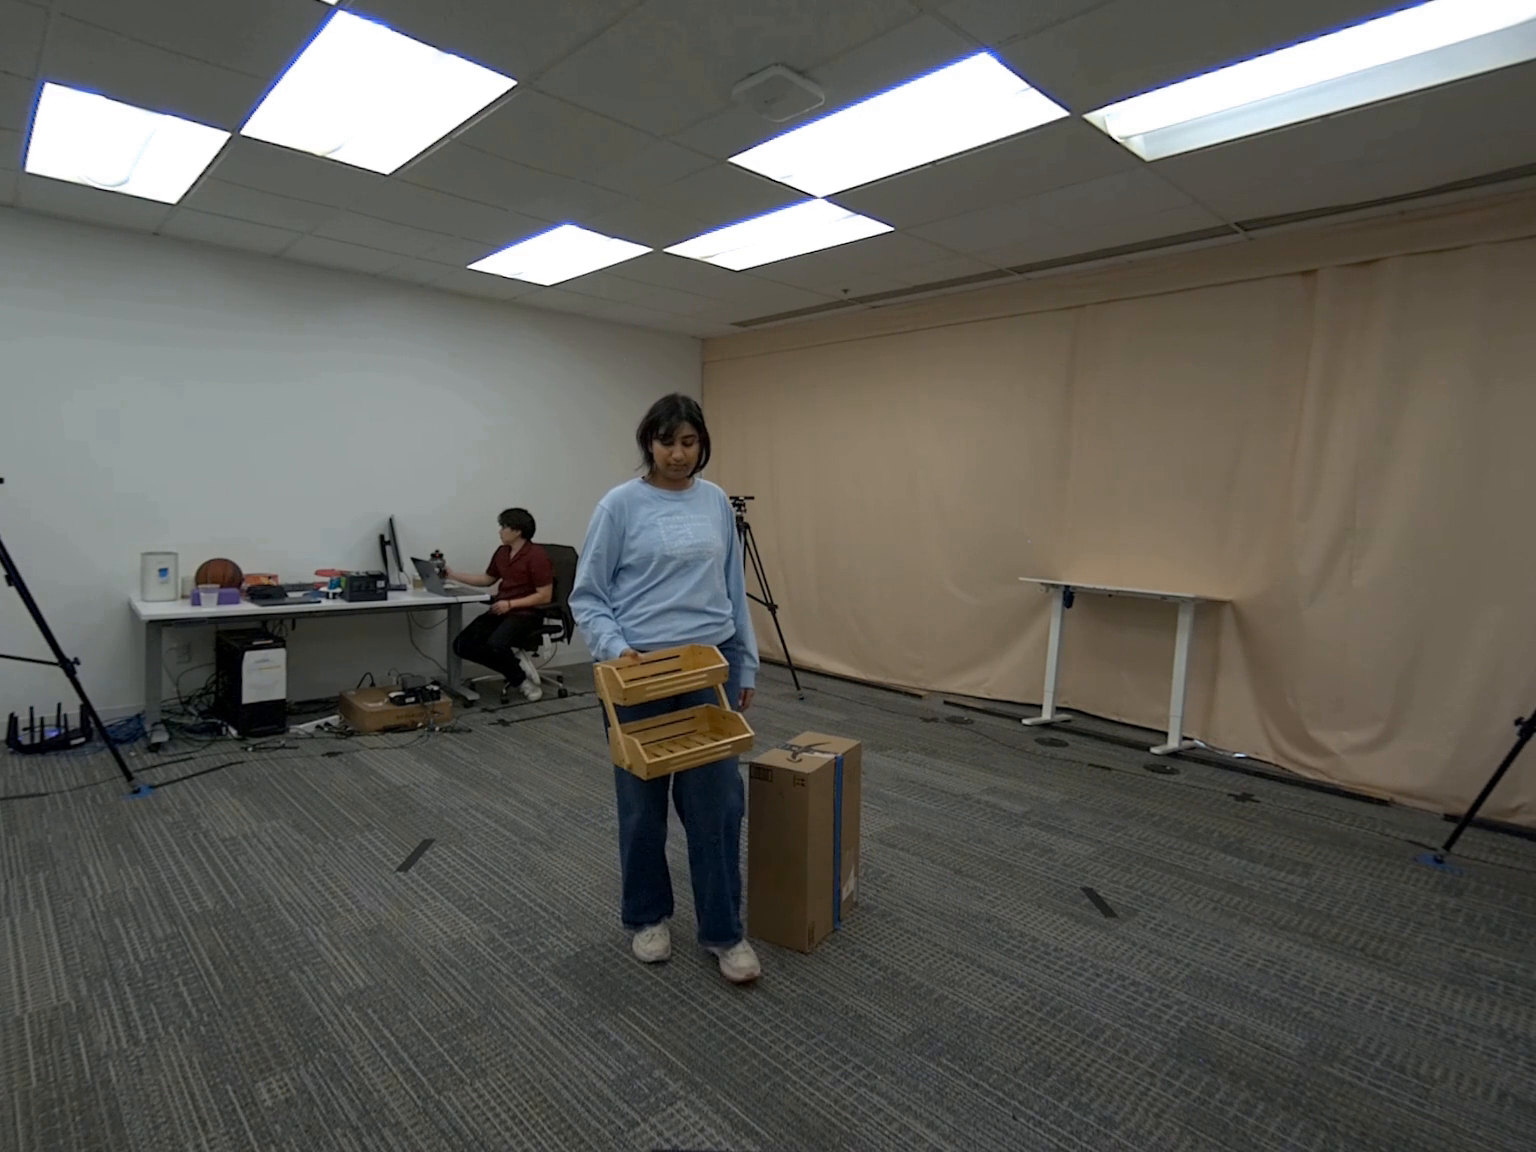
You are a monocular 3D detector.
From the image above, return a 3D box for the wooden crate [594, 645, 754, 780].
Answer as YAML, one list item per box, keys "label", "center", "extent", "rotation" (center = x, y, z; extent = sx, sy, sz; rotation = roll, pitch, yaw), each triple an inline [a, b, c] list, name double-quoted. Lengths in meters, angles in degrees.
- label: "wooden crate"
  center: [-0.260, 0.341, 2.190]
  extent: [0.319, 0.273, 0.307]
  rotation: [-8, 2, -29]
